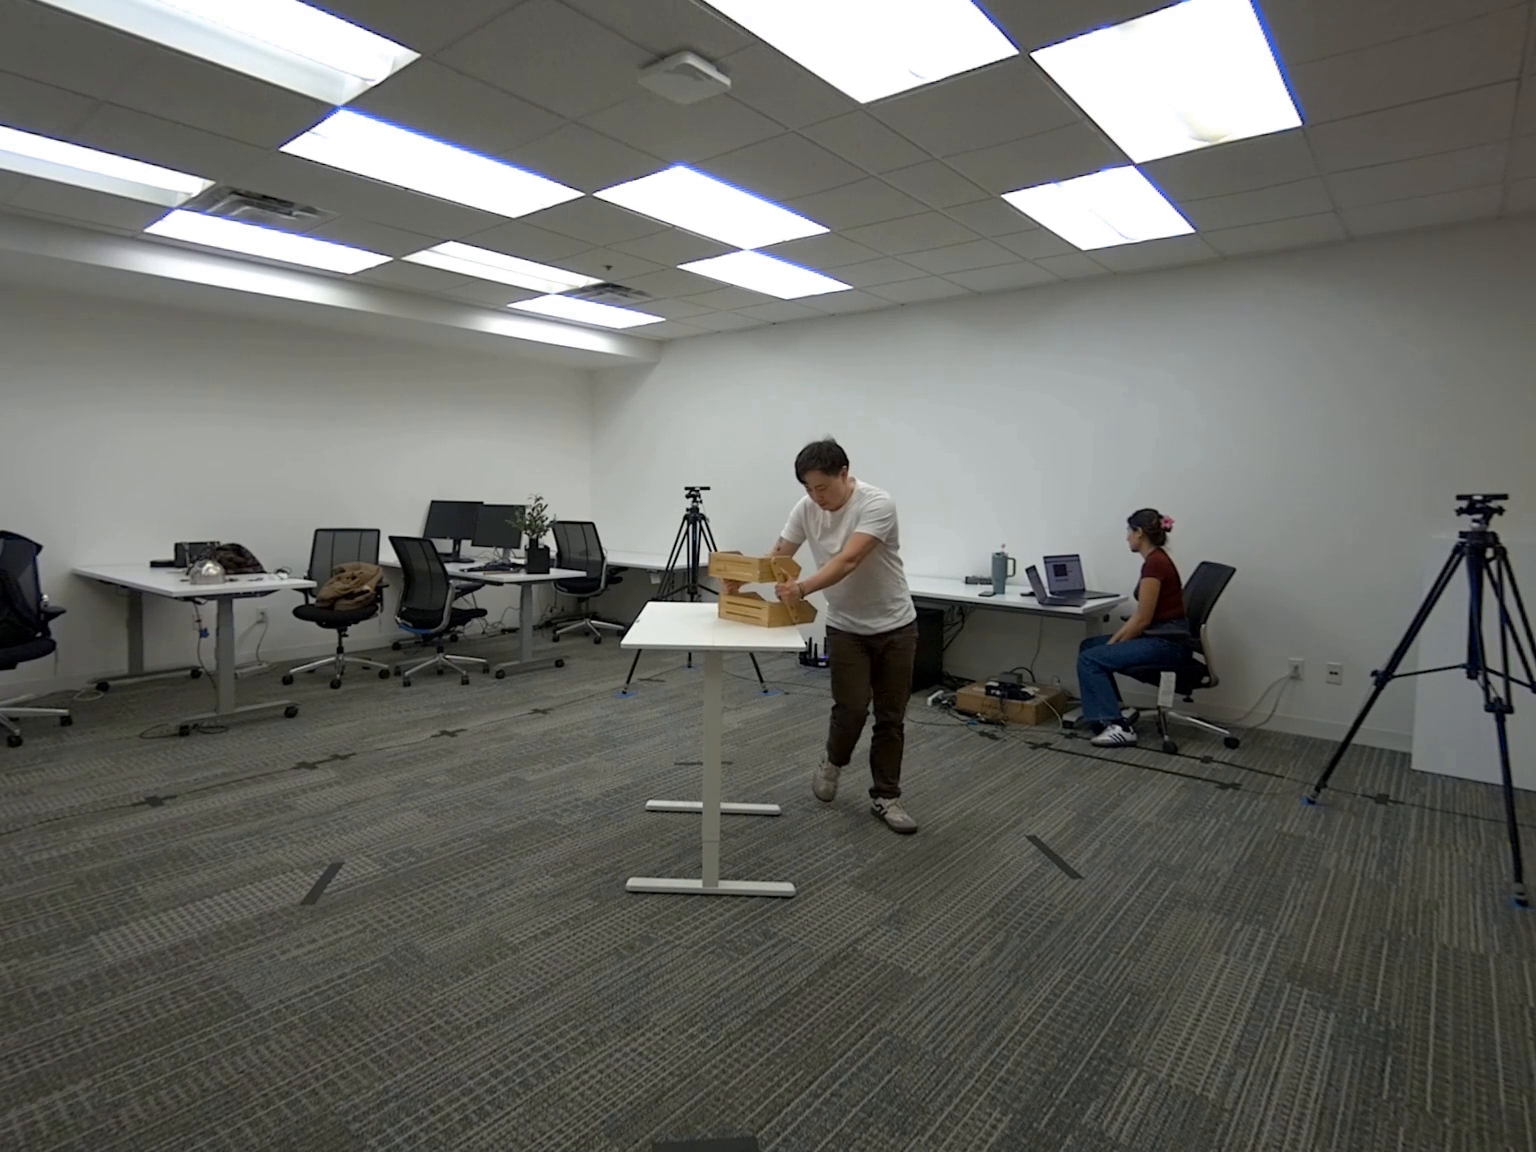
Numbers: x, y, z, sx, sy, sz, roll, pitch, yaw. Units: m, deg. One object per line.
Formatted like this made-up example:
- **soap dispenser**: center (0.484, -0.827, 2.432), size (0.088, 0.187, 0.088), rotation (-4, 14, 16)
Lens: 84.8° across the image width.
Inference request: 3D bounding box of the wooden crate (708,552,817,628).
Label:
- **wooden crate**: center (-0.032, 0.035, 3.283), size (0.293, 0.272, 0.335), rotation (-4, 7, -40)
